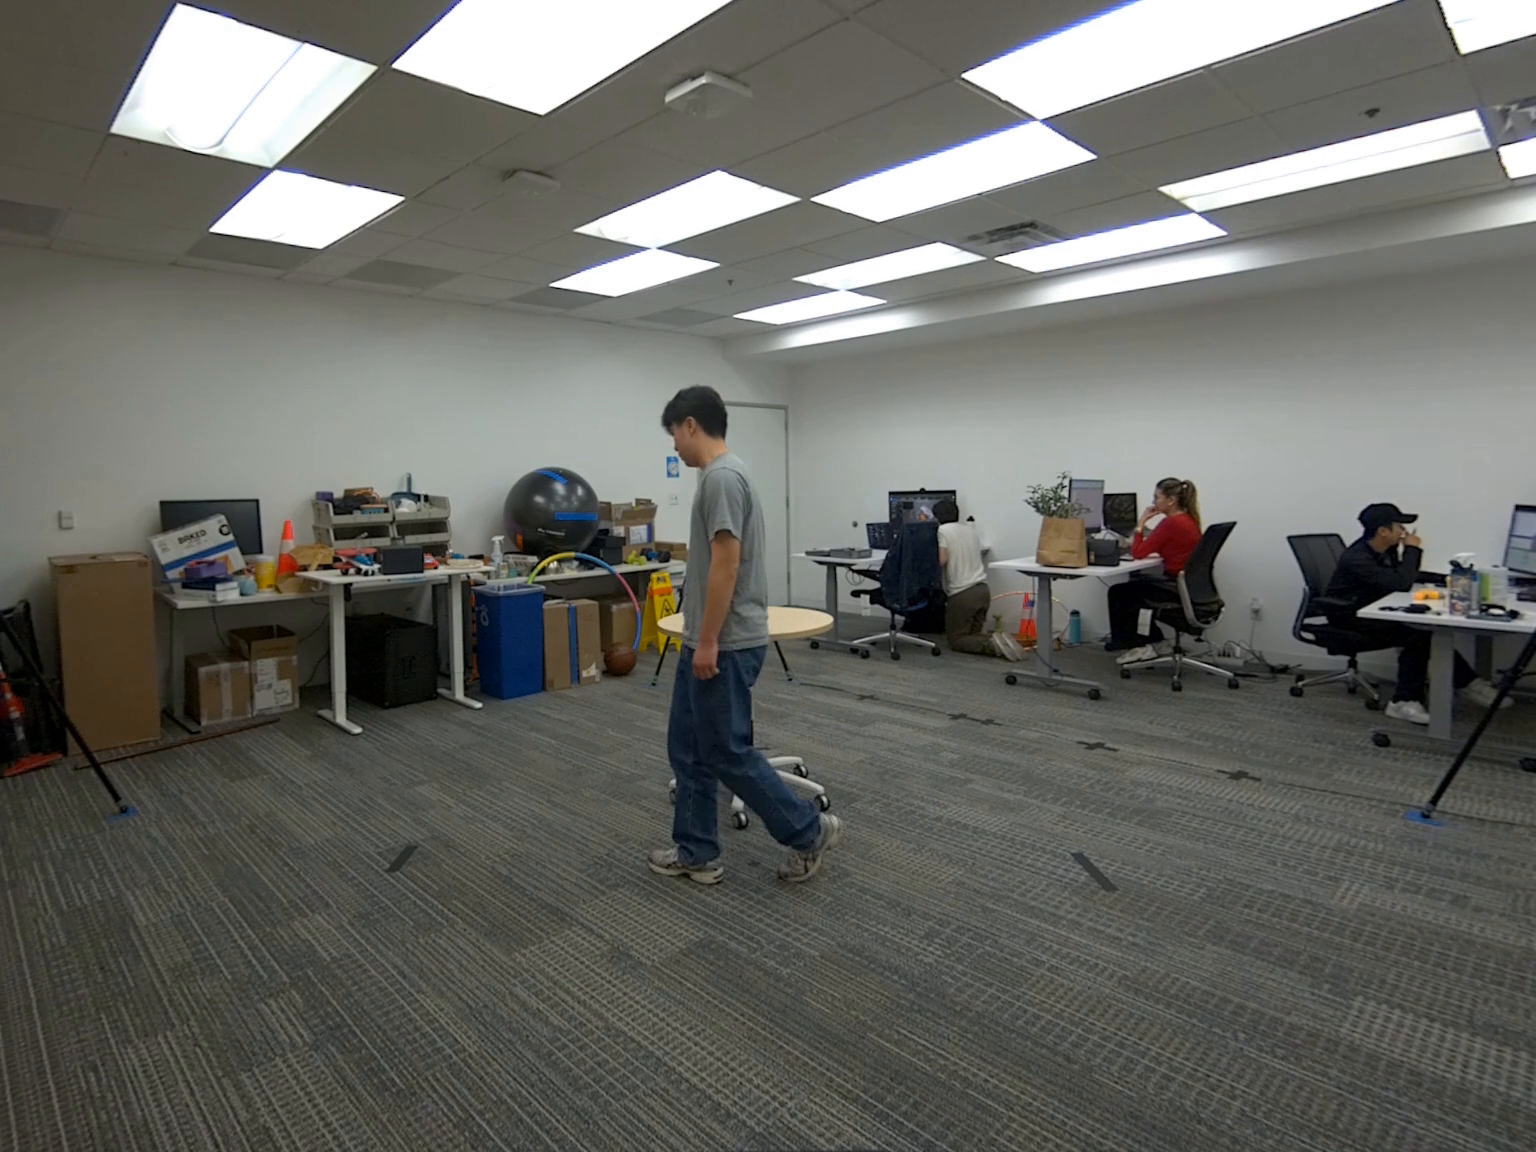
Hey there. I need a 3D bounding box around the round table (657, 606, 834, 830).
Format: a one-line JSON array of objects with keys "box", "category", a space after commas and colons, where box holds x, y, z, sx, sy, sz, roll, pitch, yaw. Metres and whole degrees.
[{"box": [-0.087, 0.586, 3.748, 0.763, 0.791, 0.768, -1, 5, -2], "category": "round table"}]
